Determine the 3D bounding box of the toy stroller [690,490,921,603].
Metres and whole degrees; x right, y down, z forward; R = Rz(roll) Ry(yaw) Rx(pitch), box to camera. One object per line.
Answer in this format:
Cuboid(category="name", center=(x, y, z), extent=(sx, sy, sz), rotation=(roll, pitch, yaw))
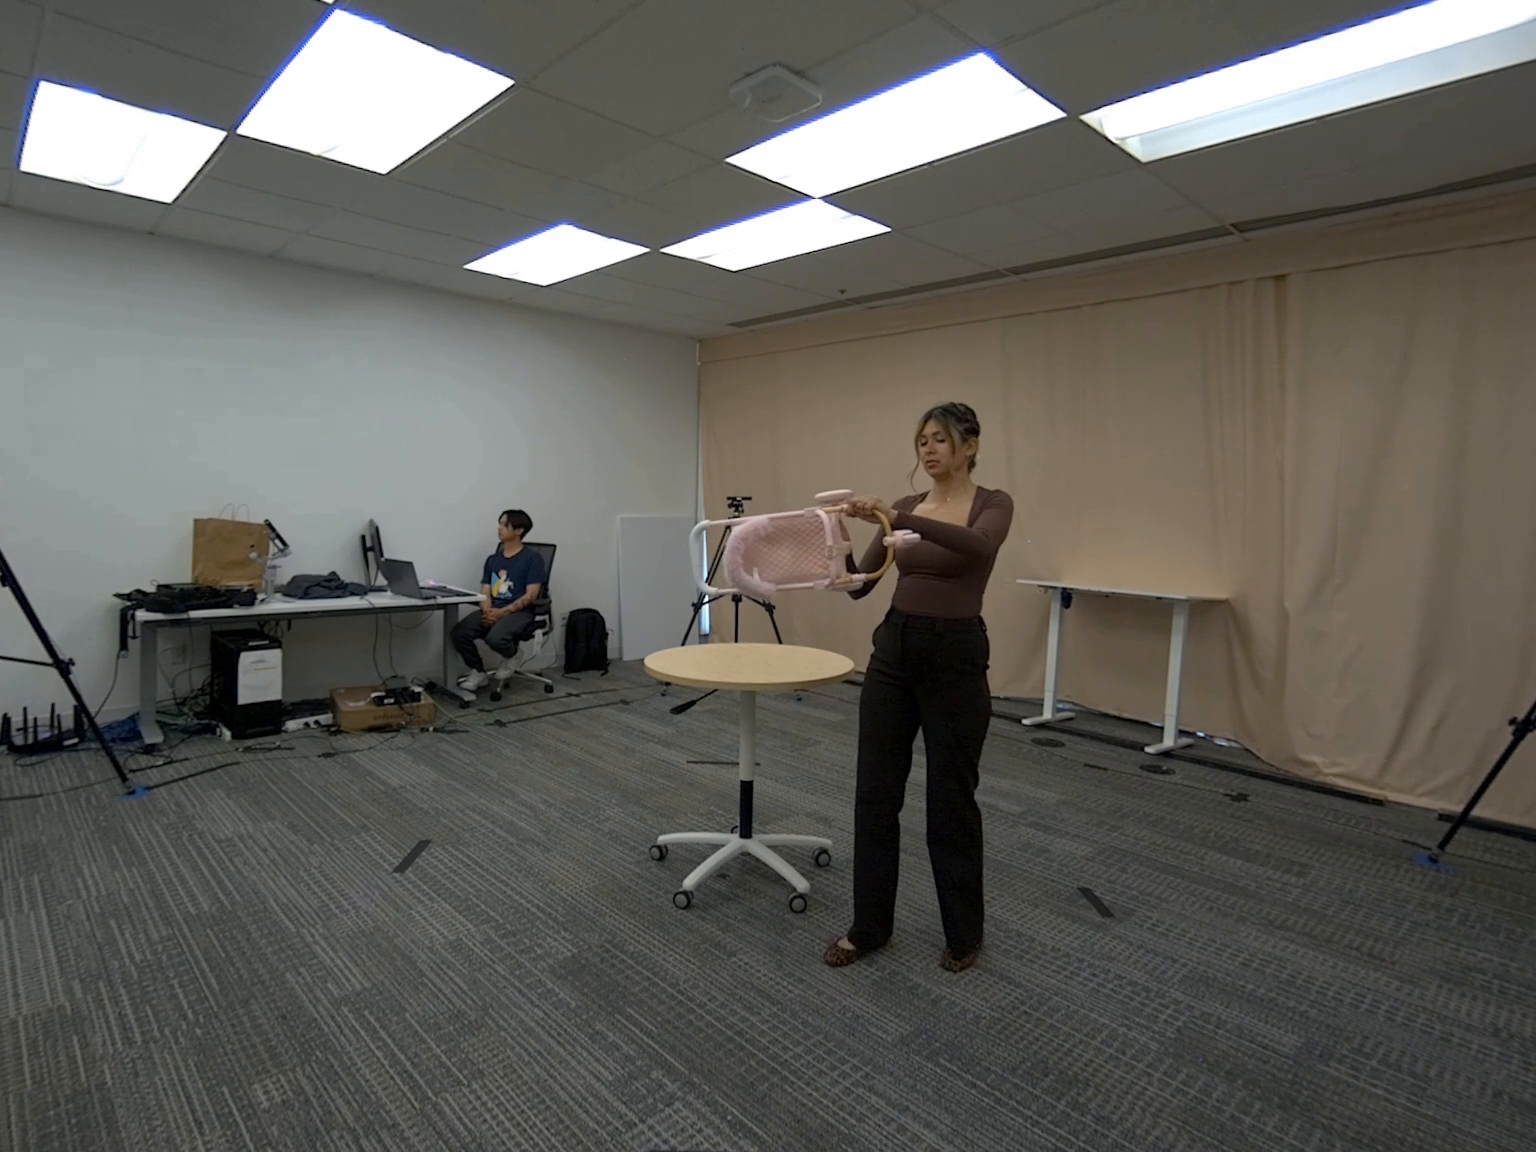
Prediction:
Cuboid(category="toy stroller", center=(0.097, -0.067, 2.229), extent=(0.528, 0.280, 0.347), rotation=(-8, 8, -19))
